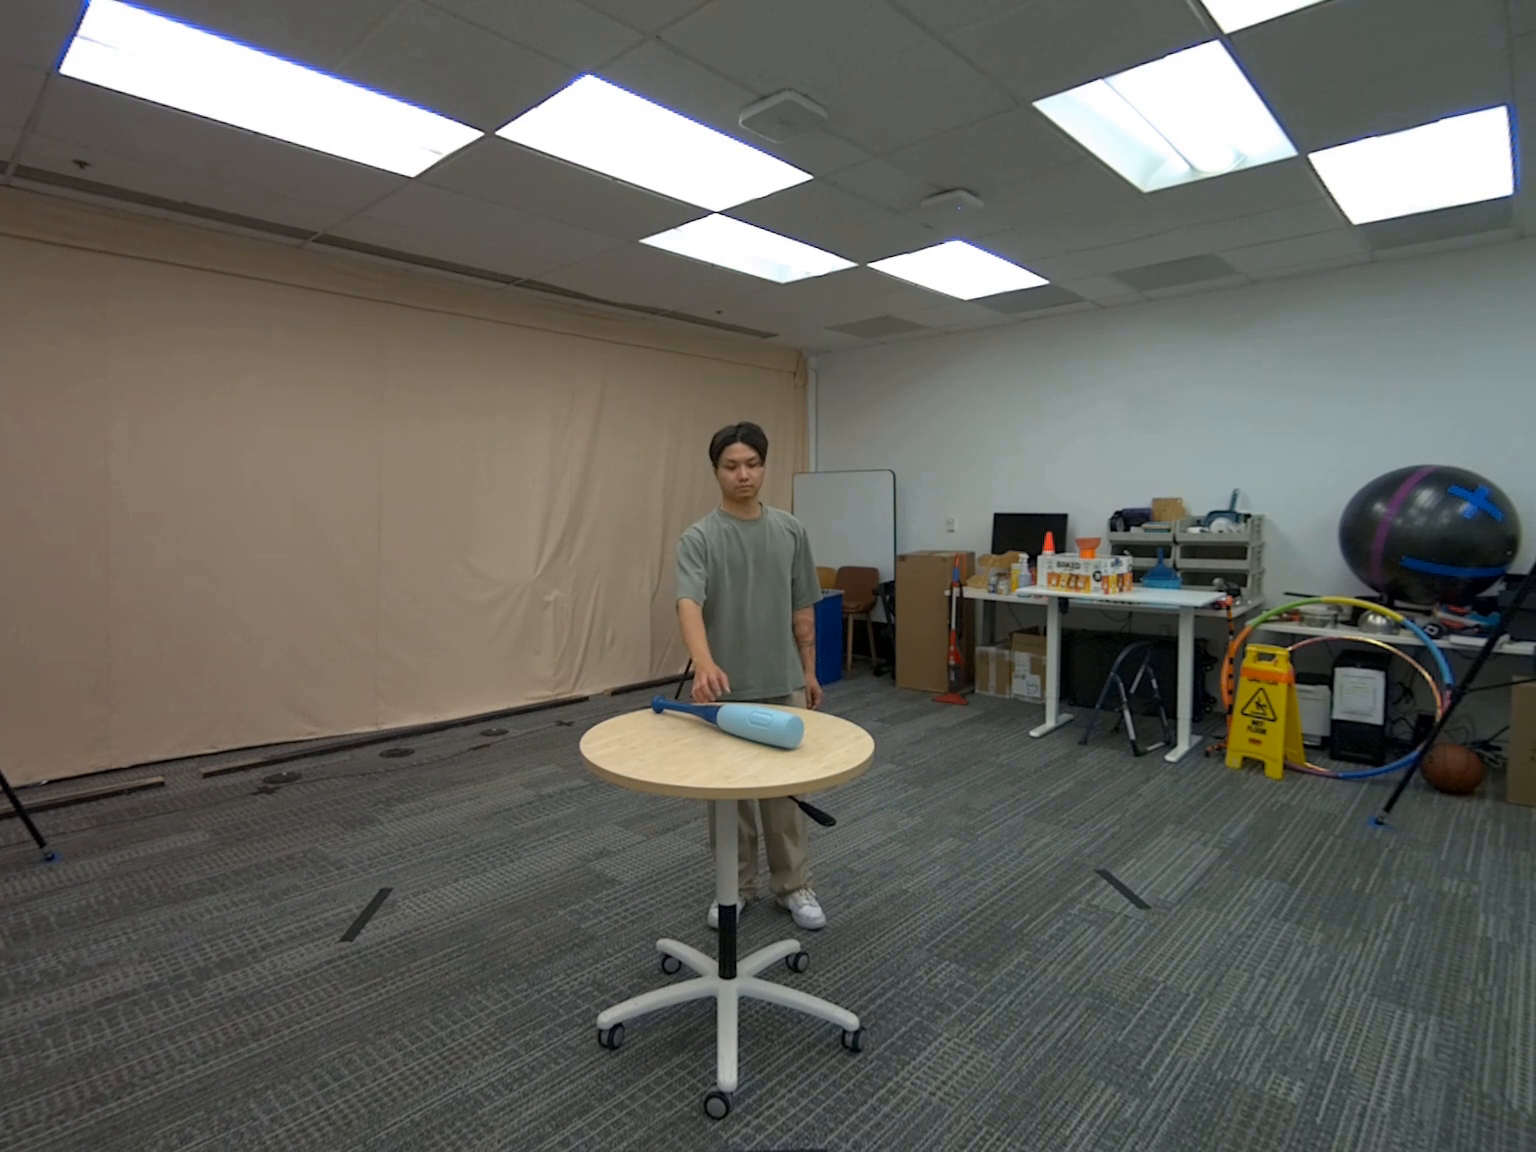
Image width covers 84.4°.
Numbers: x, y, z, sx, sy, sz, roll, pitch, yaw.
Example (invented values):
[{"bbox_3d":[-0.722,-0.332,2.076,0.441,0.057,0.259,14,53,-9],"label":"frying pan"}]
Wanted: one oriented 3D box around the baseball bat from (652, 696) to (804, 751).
[{"bbox_3d":[-0.127,0.380,2.291,0.561,0.089,0.086,2,4,45],"label":"baseball bat"}]
